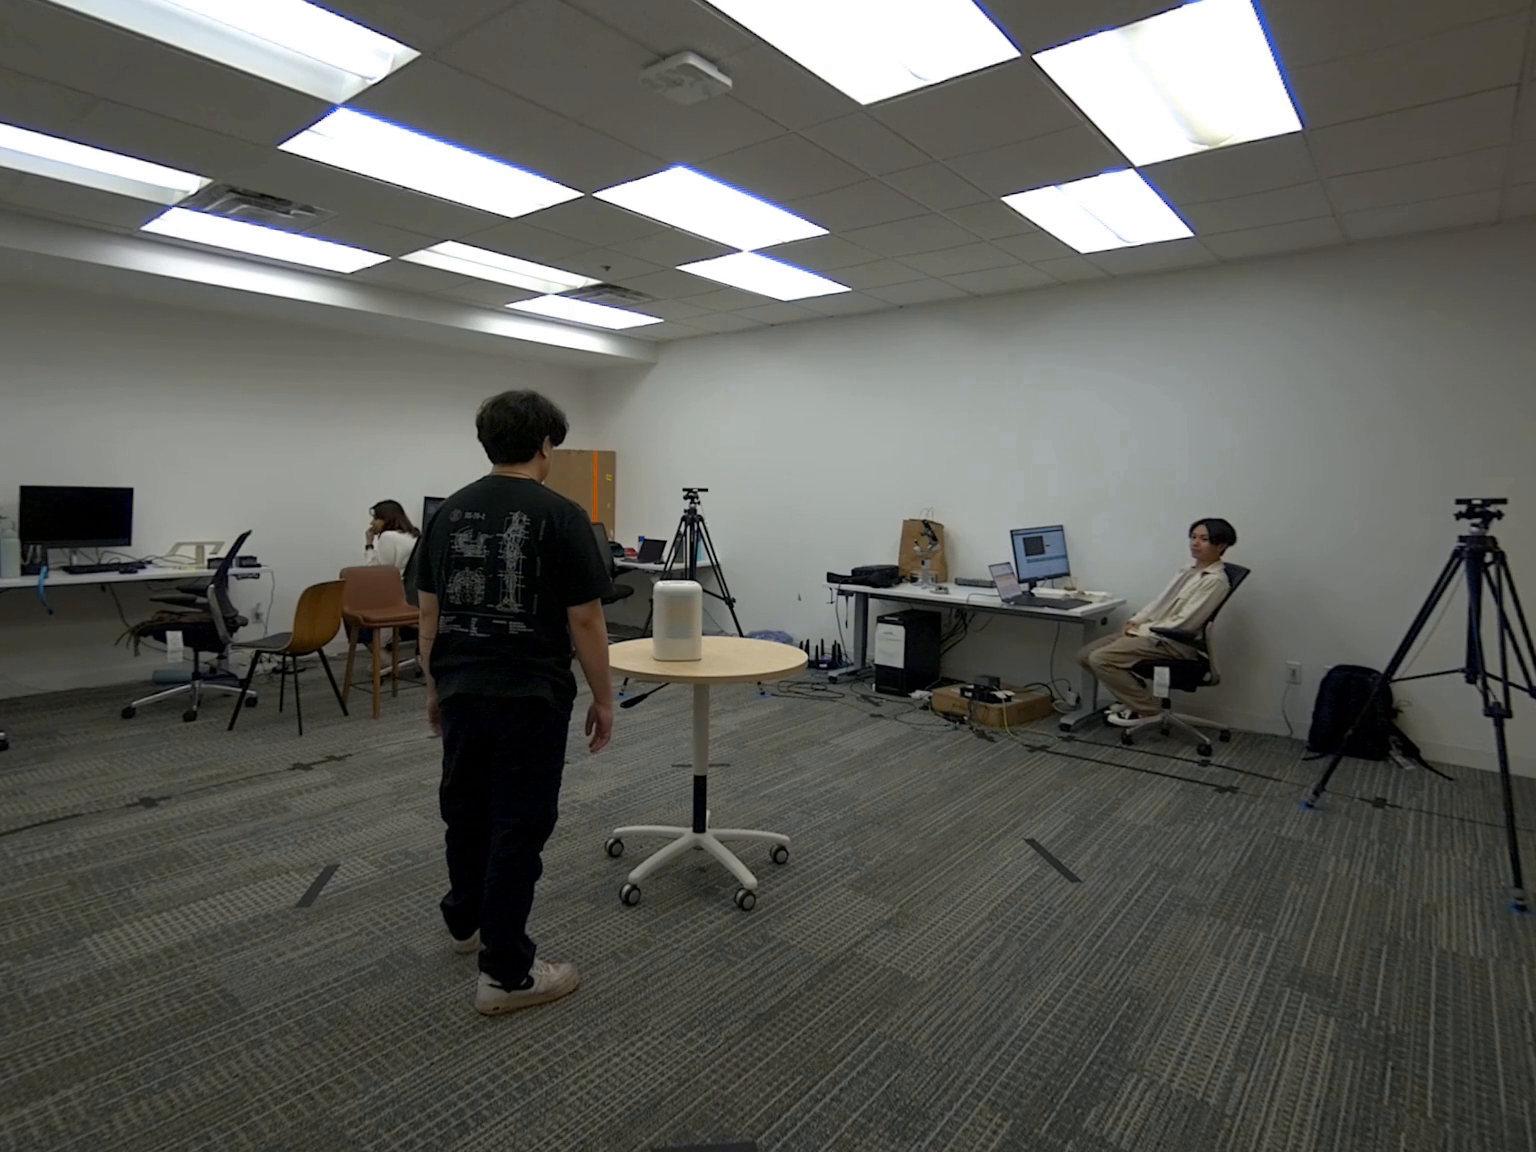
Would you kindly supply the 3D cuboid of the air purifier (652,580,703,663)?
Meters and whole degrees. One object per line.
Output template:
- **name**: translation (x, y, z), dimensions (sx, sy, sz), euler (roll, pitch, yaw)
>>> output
- **air purifier**: translation (-0.334, 0.152, 3.007), dimensions (0.170, 0.264, 0.173), euler (0, 4, -6)
